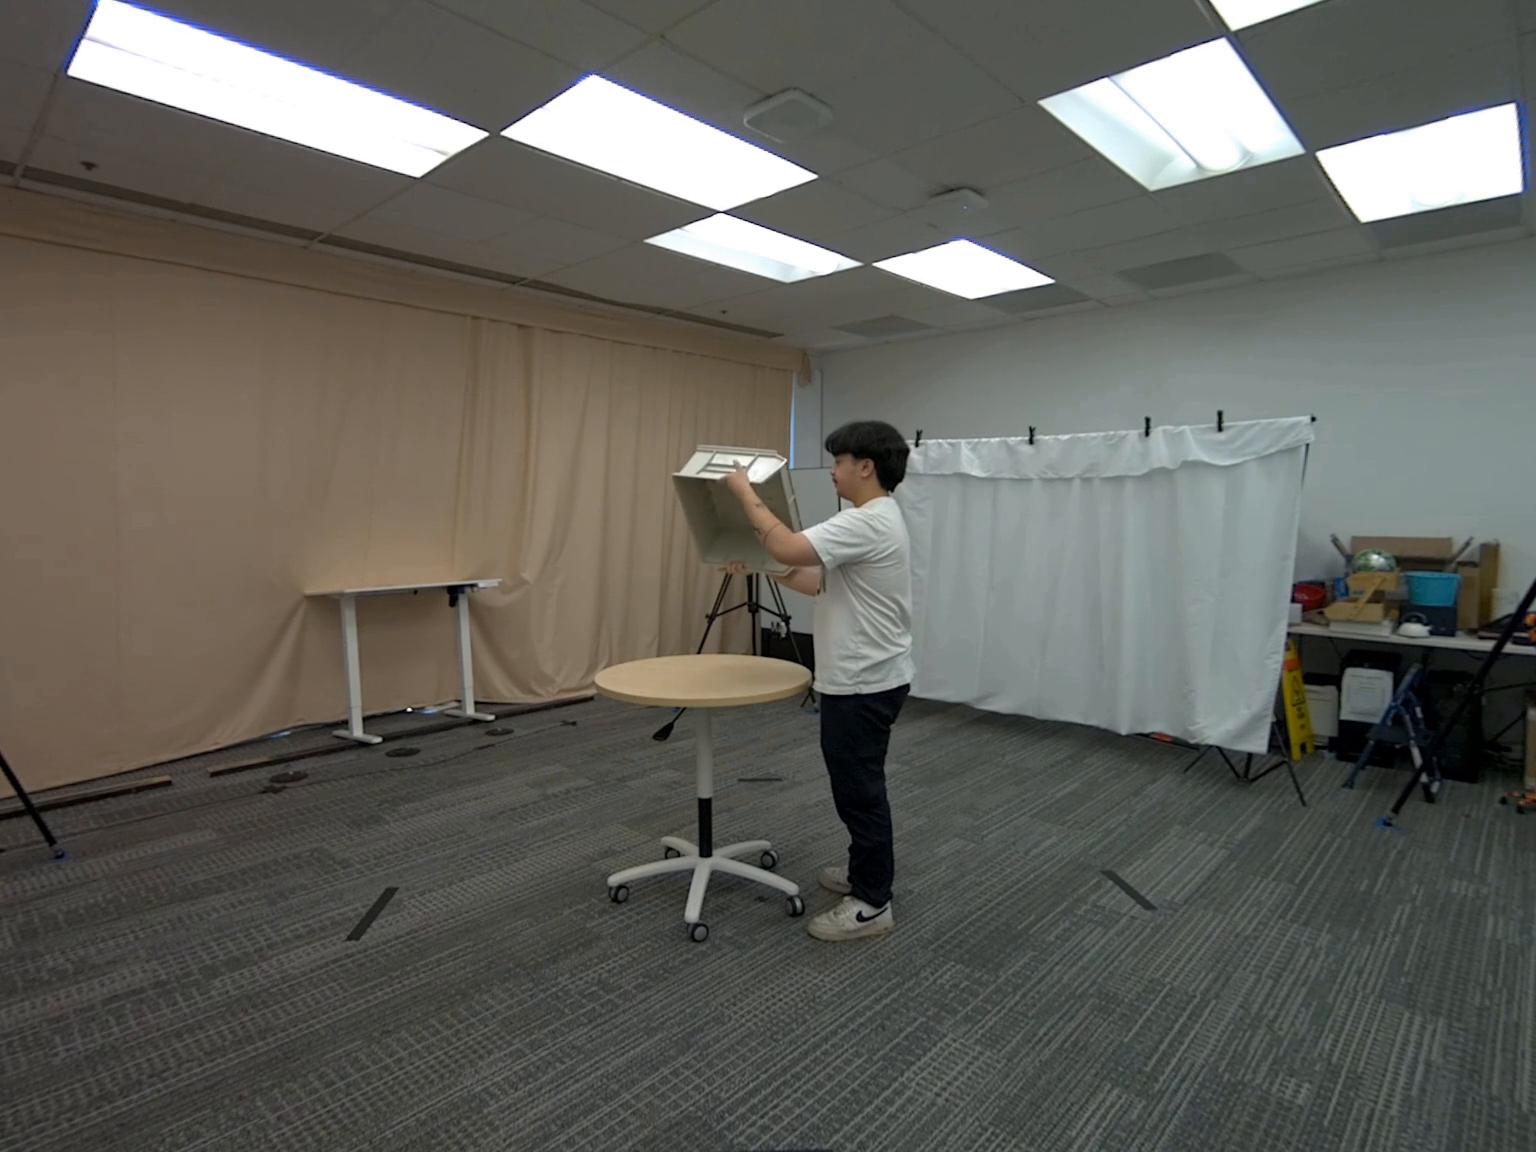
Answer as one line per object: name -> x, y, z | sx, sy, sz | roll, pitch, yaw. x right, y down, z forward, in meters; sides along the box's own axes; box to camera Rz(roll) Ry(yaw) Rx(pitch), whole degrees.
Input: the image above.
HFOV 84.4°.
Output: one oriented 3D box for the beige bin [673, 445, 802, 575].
beige bin -> -0.087, -0.229, 2.973 | 0.388, 0.411, 0.188 | 9, 46, 27
